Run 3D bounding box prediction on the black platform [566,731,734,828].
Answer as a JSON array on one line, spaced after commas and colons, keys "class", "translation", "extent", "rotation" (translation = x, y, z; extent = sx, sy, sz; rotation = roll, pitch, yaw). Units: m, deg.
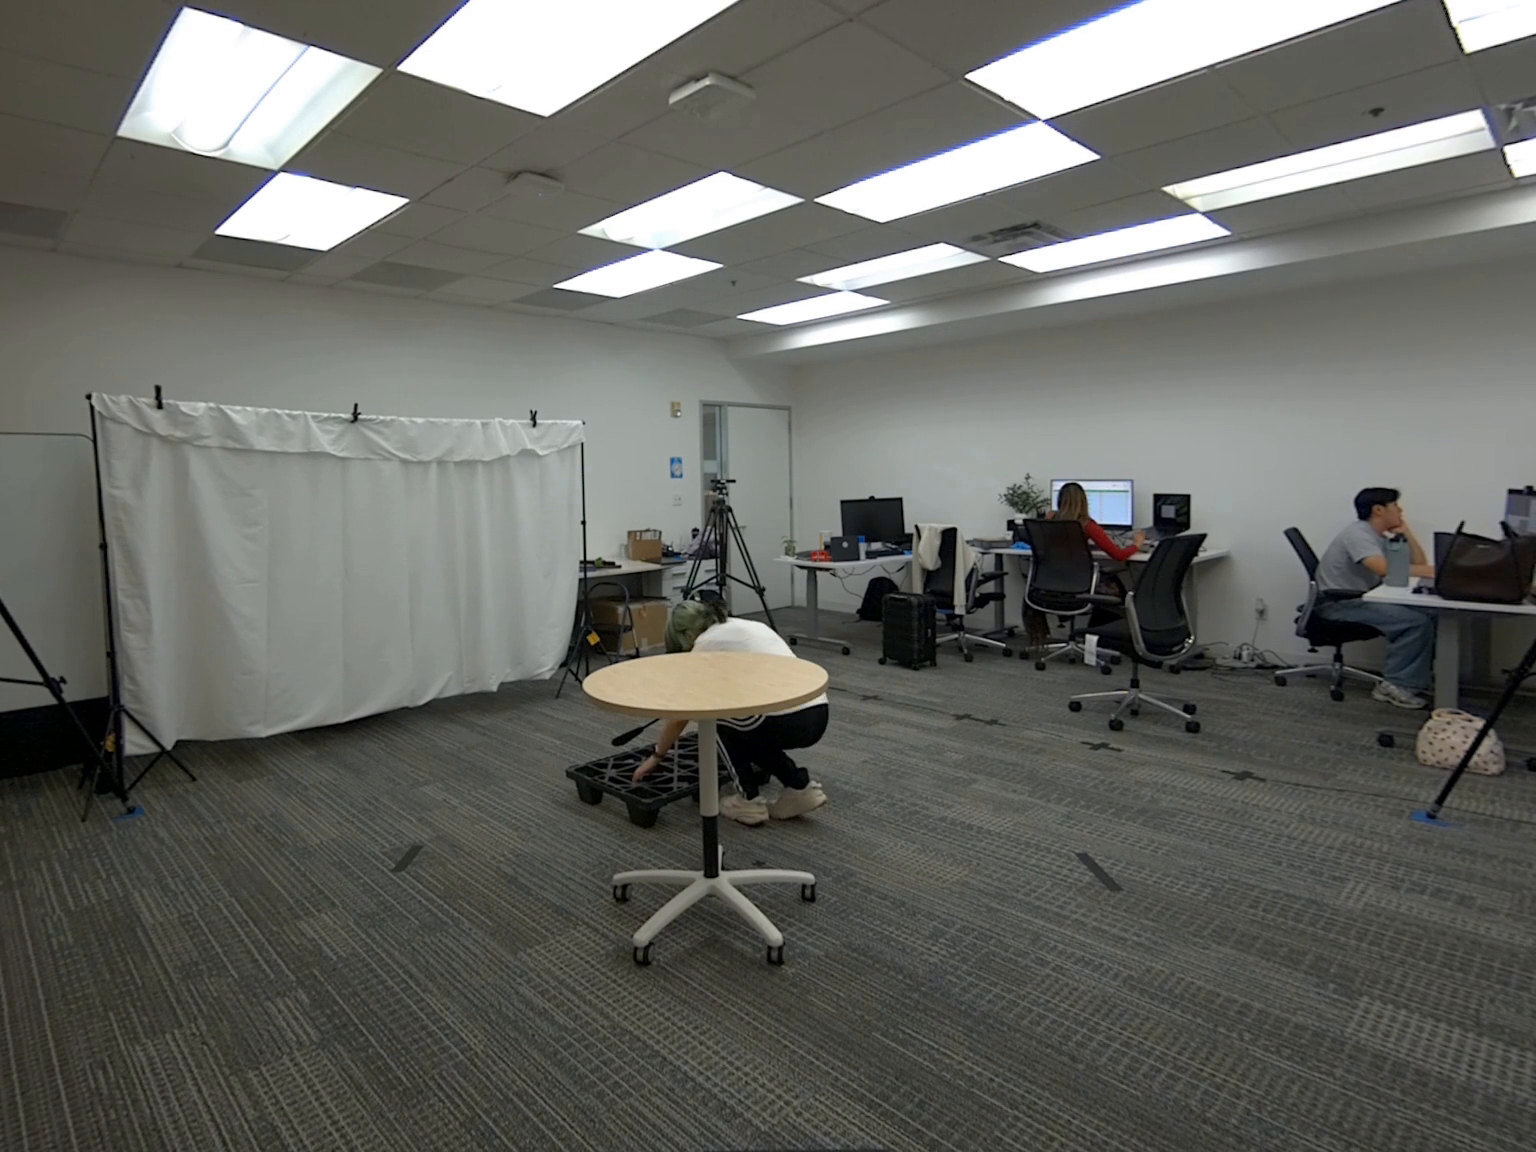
[{"class": "black platform", "translation": [-0.414, 0.904, 3.855], "extent": [0.623, 0.143, 0.784], "rotation": [3, 8, 45]}]
